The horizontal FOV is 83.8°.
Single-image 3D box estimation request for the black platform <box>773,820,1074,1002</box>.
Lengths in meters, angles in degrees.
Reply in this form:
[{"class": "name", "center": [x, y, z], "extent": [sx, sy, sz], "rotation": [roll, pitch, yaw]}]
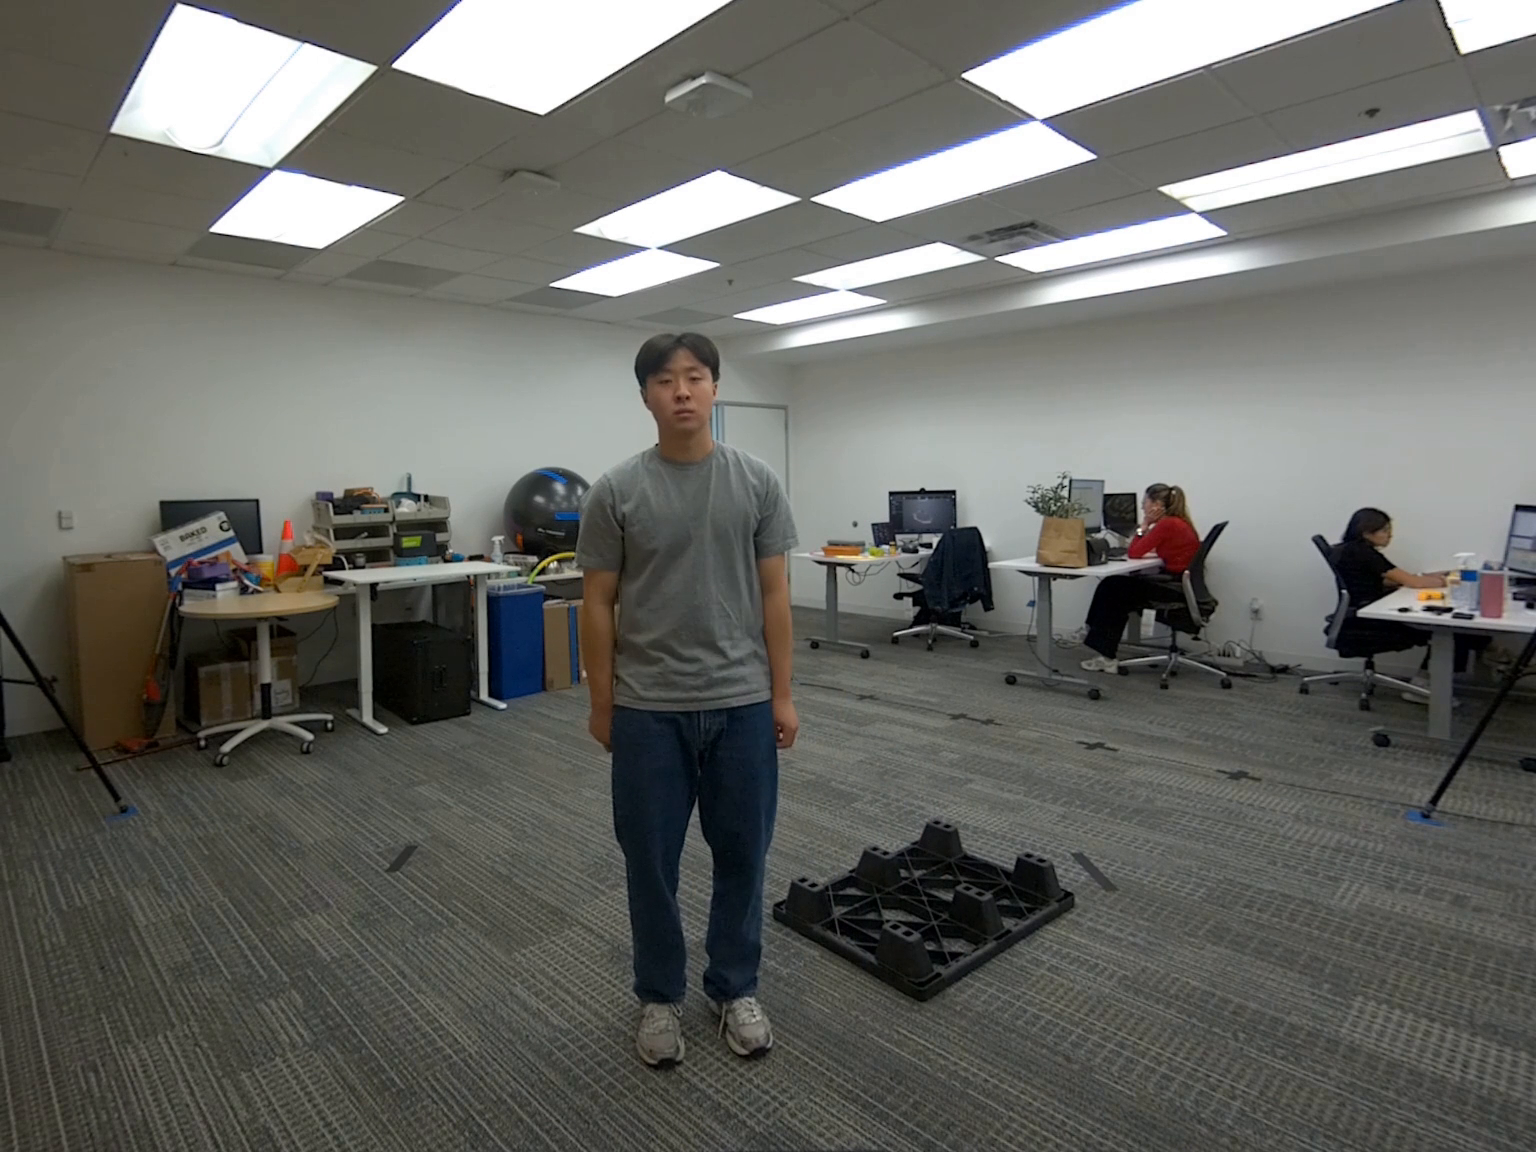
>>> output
[{"class": "black platform", "center": [0.506, 1.011, 2.742], "extent": [0.784, 0.142, 0.624], "rotation": [-6, 9, -40]}]
